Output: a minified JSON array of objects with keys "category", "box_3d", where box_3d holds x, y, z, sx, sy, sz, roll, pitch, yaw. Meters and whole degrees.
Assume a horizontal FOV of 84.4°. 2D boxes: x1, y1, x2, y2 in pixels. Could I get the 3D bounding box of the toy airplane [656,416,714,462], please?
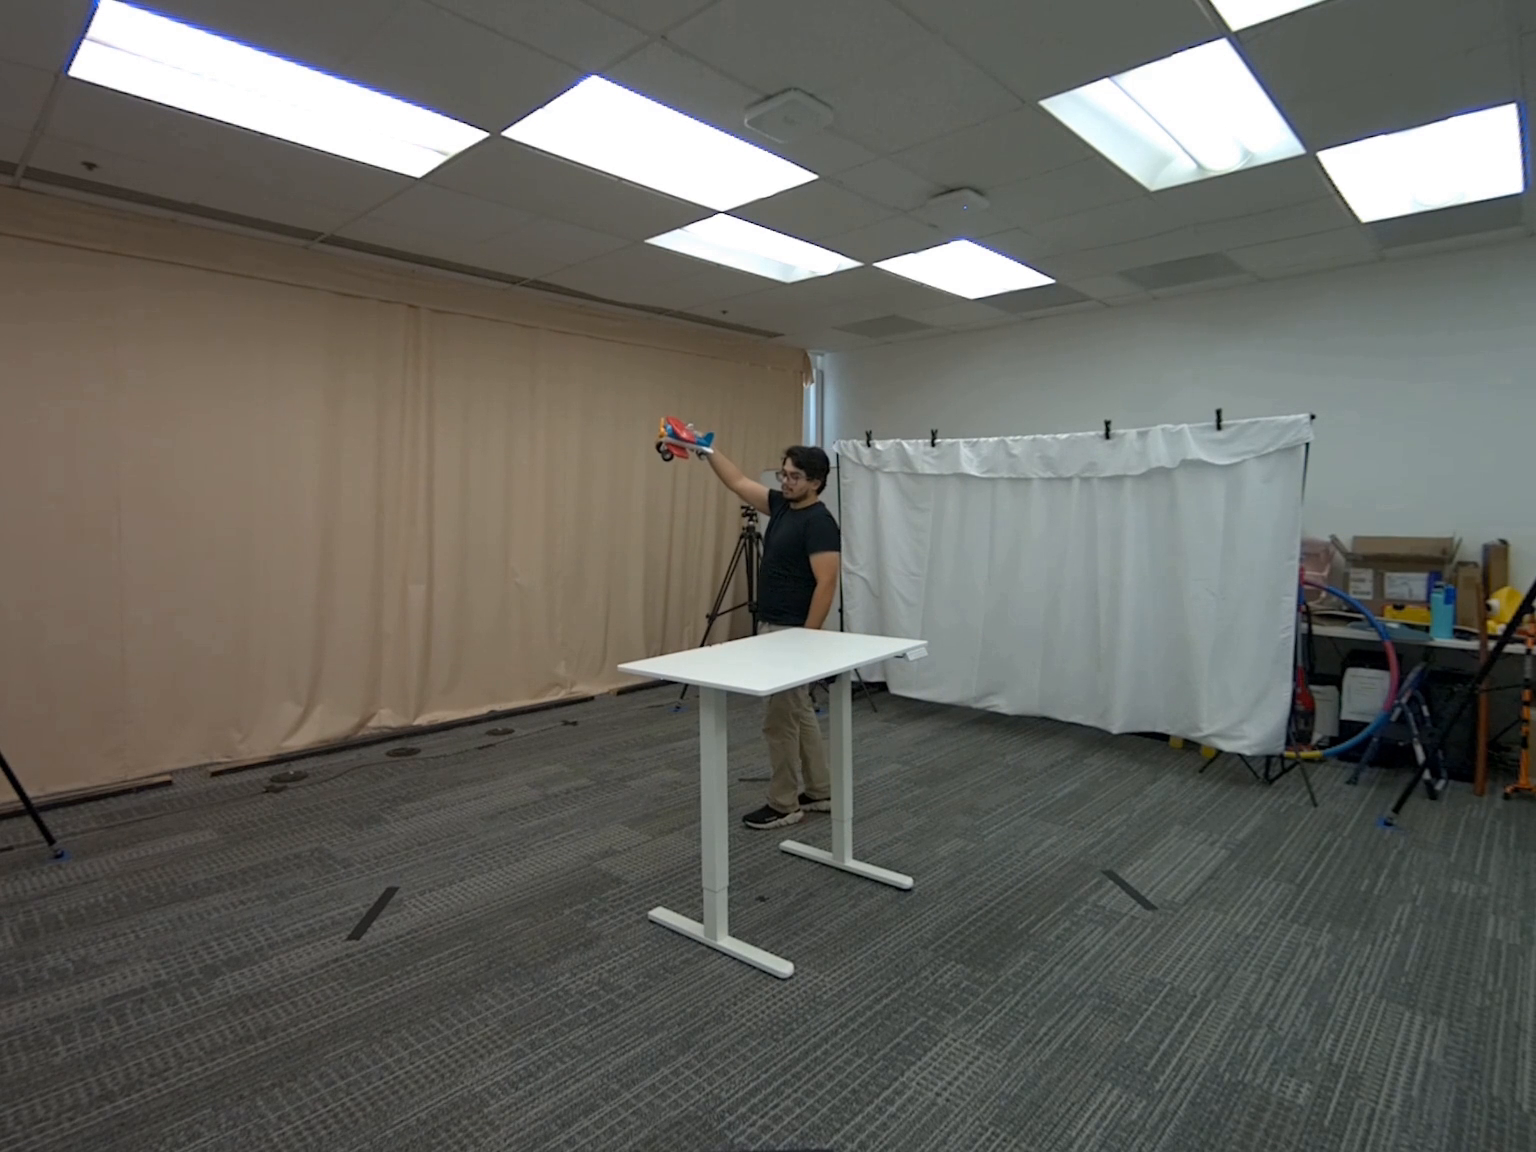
[{"category":"toy airplane","box_3d":[-0.375,-0.606,3.740,0.259,0.155,0.253,33,35,29]}]
